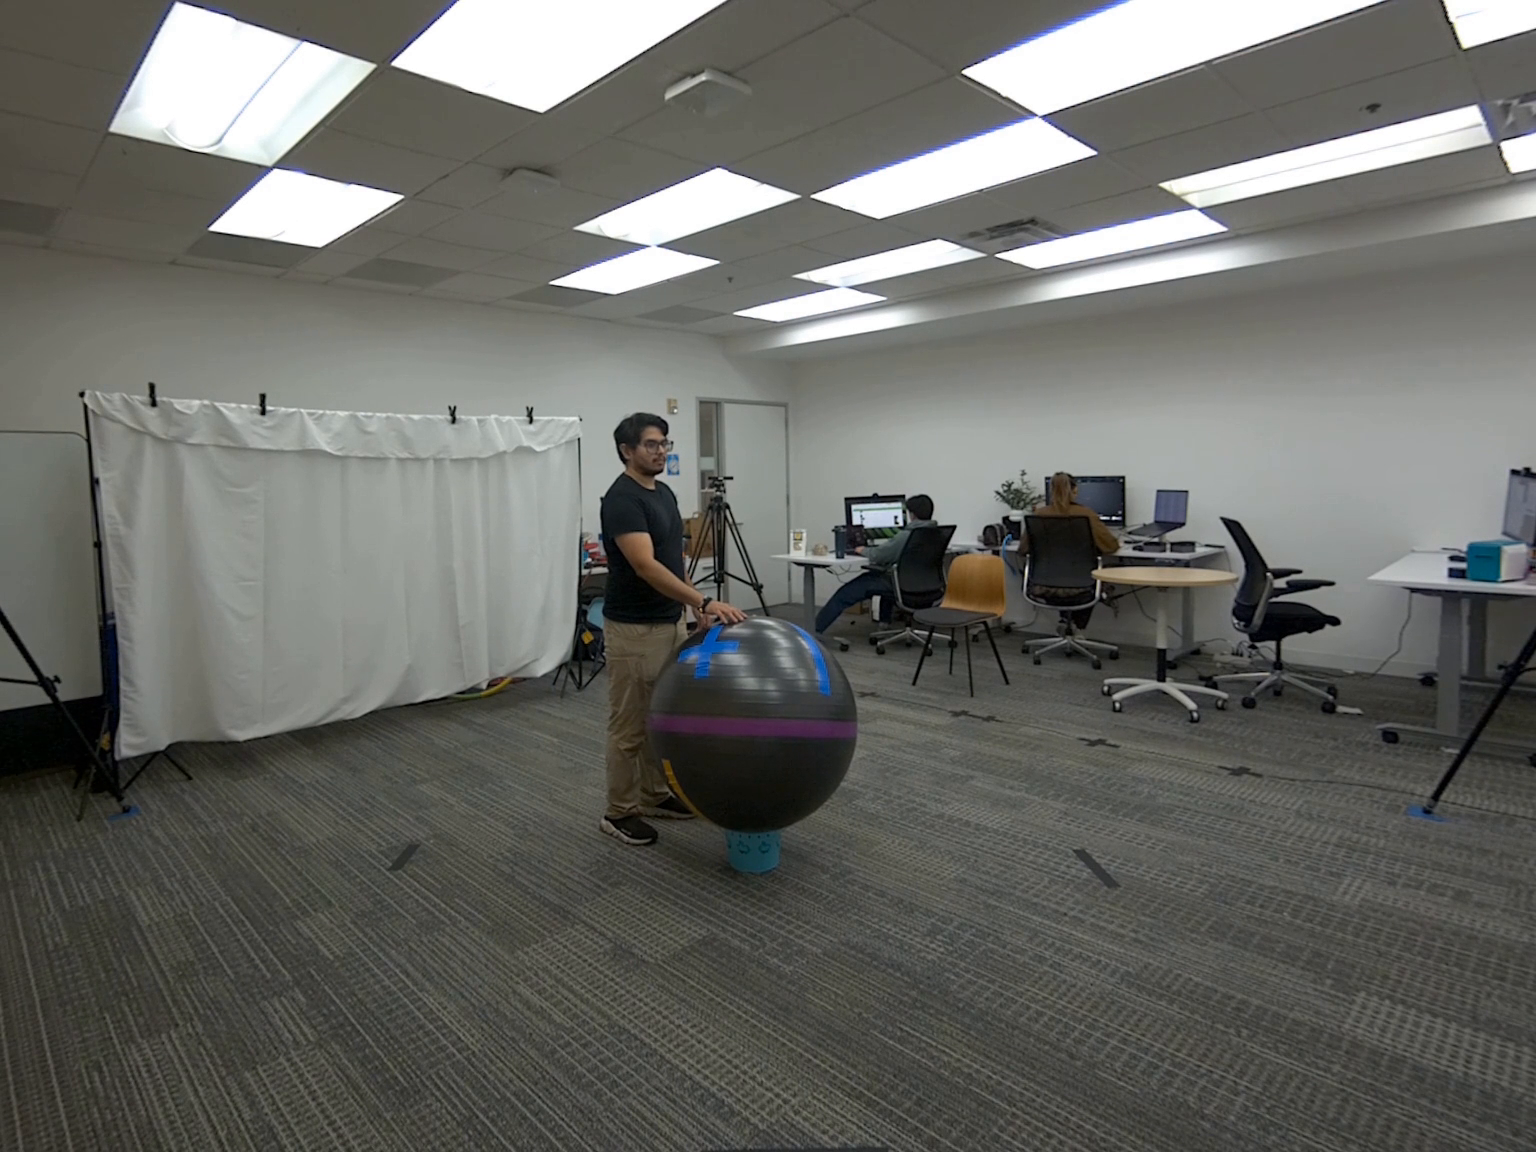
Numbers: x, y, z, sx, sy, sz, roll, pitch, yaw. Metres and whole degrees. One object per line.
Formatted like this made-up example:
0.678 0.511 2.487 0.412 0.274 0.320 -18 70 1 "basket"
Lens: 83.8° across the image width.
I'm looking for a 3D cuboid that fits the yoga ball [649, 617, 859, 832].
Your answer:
-0.054 0.529 3.096 0.757 0.755 0.762 -1 5 -2 "yoga ball"
